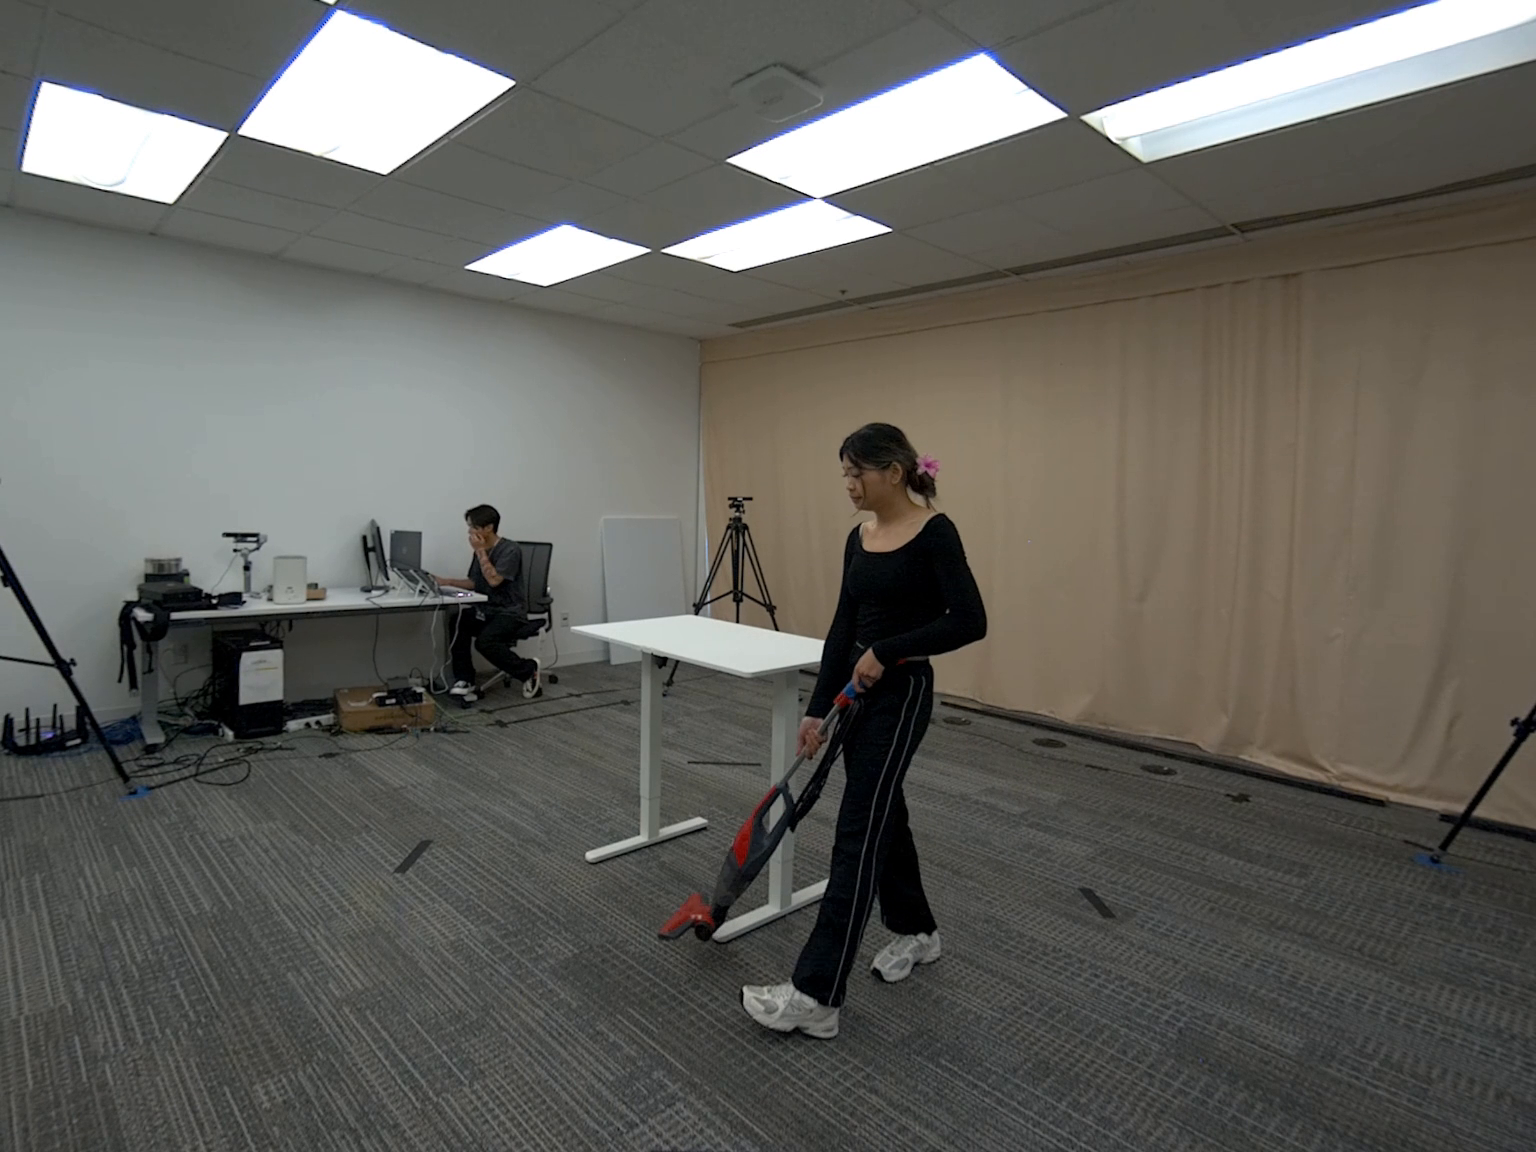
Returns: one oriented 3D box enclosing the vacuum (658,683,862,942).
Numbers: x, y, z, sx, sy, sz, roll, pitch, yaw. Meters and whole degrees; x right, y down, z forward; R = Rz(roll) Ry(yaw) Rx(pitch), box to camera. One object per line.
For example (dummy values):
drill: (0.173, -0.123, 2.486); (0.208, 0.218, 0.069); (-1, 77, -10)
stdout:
vacuum: (0.049, 0.618, 2.362); (0.146, 1.046, 0.250); (35, 17, 9)
